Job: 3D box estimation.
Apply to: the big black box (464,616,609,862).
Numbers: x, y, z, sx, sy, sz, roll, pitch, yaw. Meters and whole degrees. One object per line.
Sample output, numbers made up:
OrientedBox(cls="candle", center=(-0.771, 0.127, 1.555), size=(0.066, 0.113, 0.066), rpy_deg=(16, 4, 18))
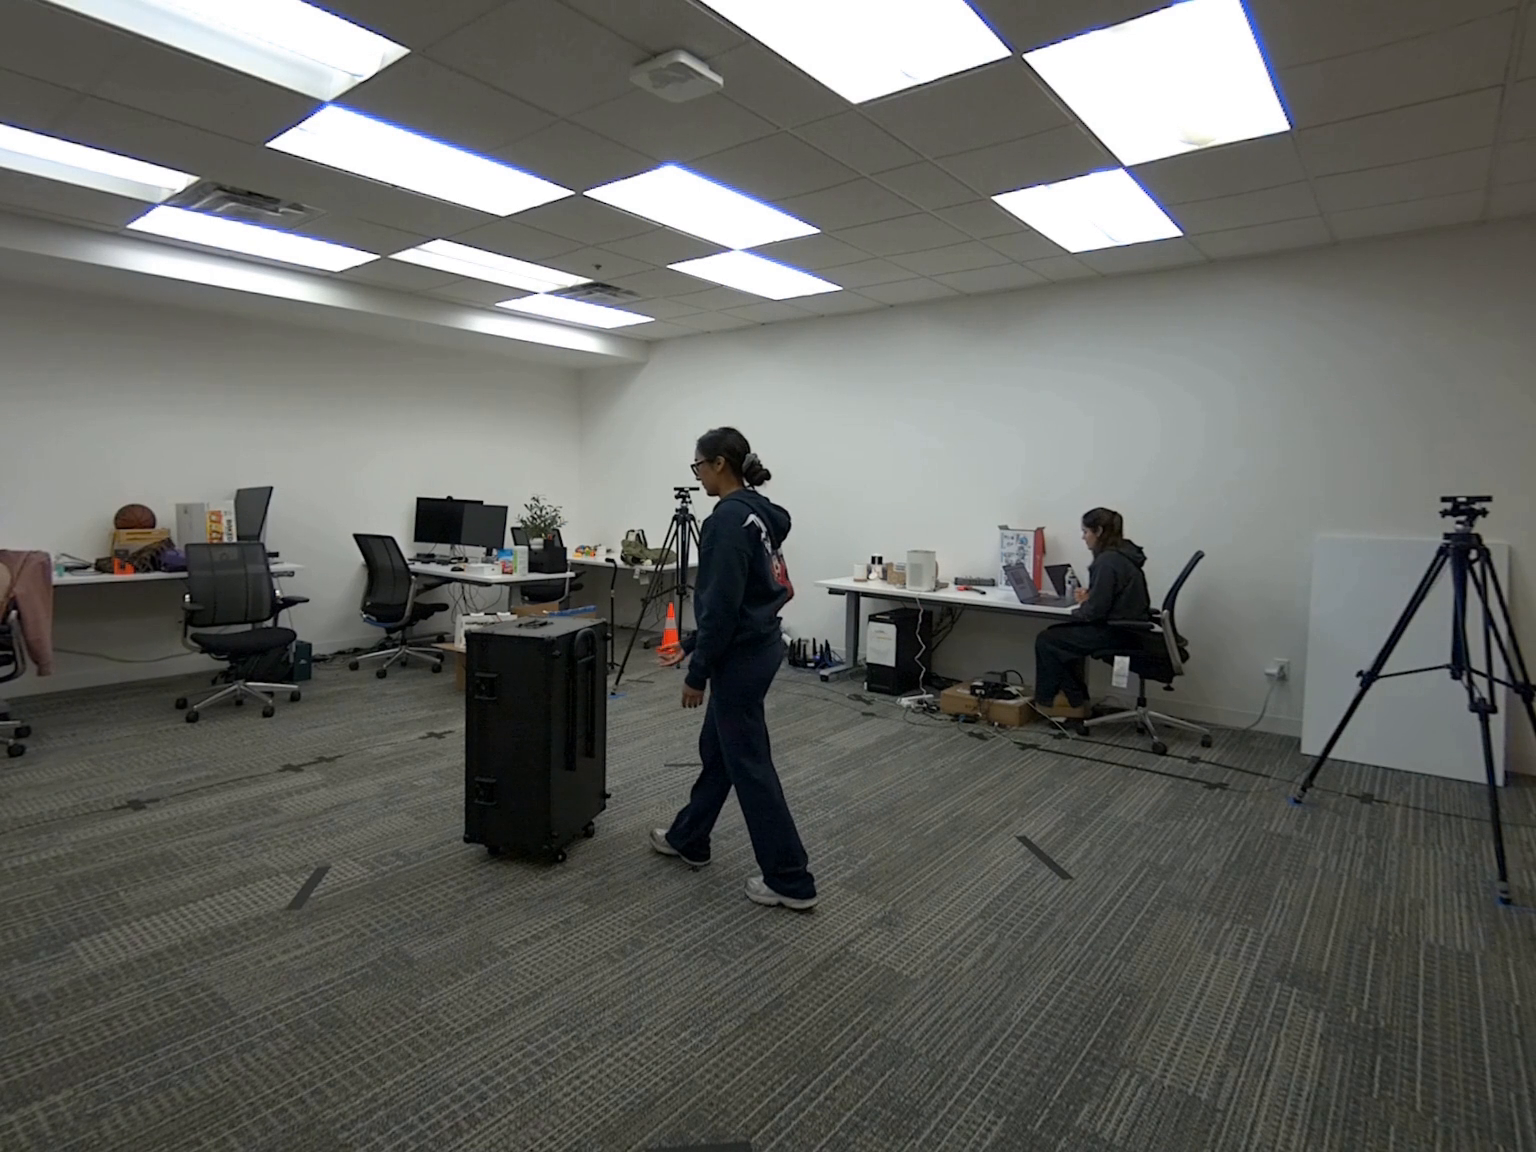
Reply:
OrientedBox(cls="big black box", center=(-0.888, 0.615, 3.305), size=(0.403, 0.859, 0.513), rpy_deg=(3, 3, 15))
